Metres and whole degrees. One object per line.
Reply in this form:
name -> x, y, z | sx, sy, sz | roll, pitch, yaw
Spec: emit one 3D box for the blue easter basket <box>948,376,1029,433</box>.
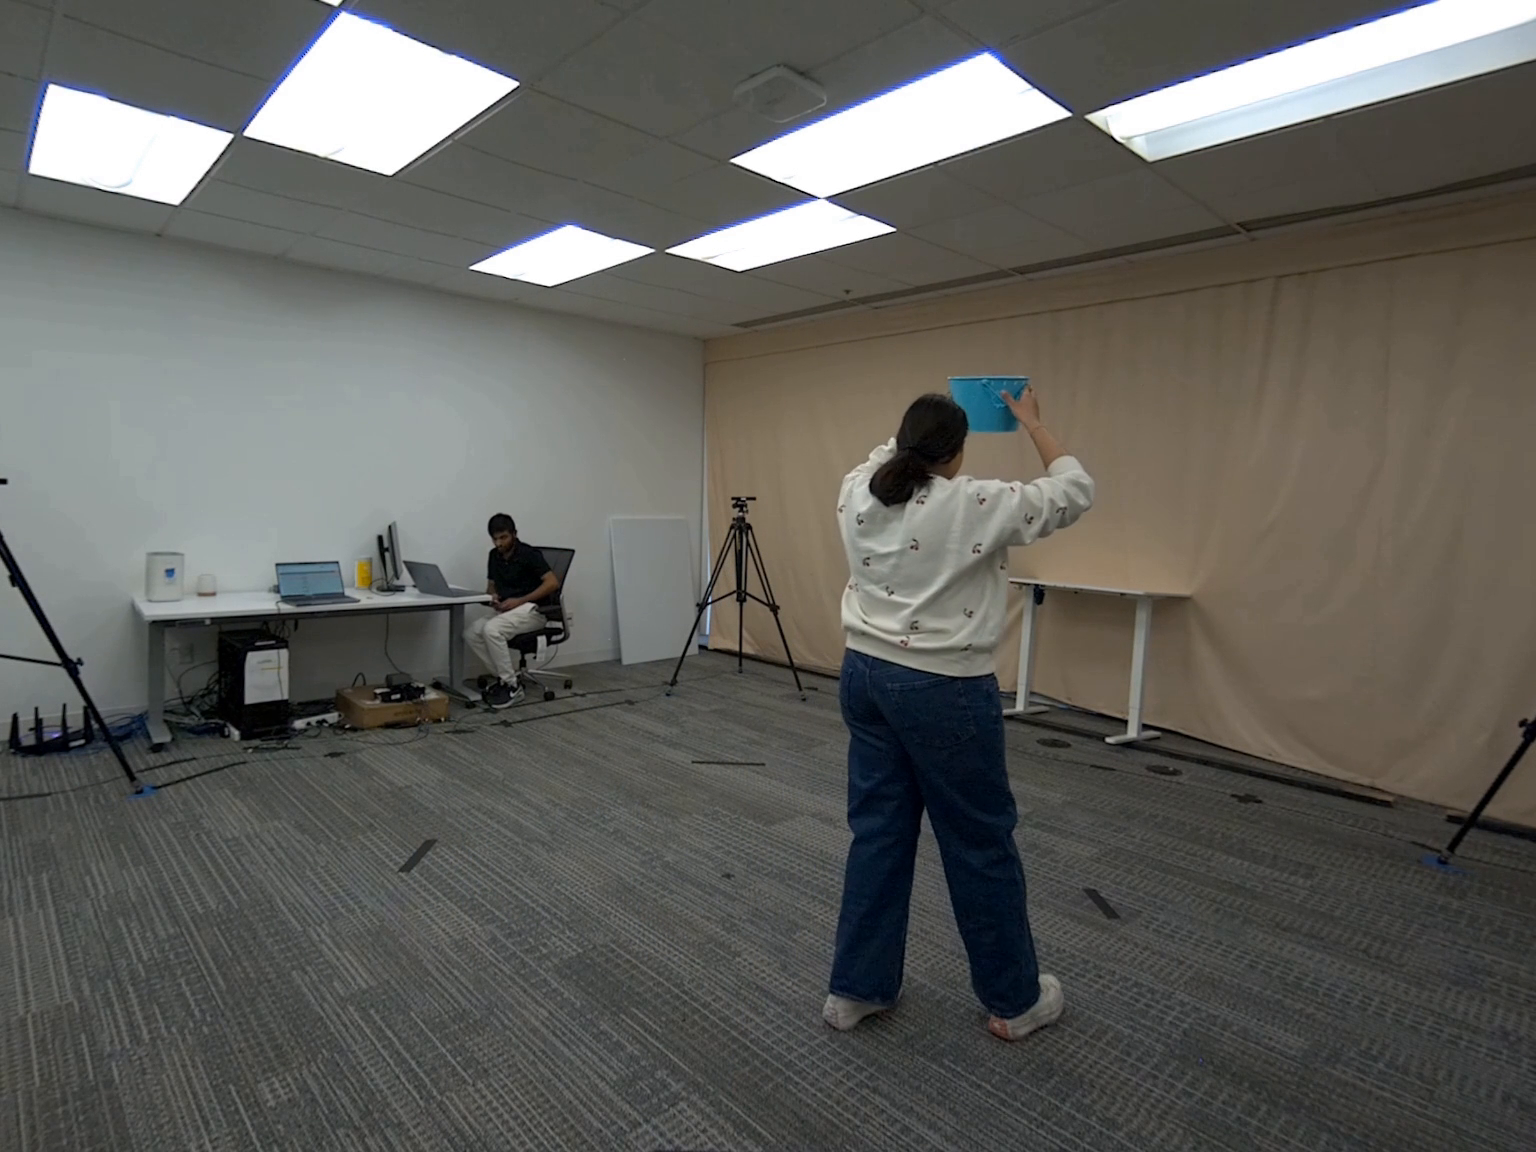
blue easter basket -> 0.640, -0.501, 2.430 | 0.243, 0.154, 0.246 | -1, 13, -1
